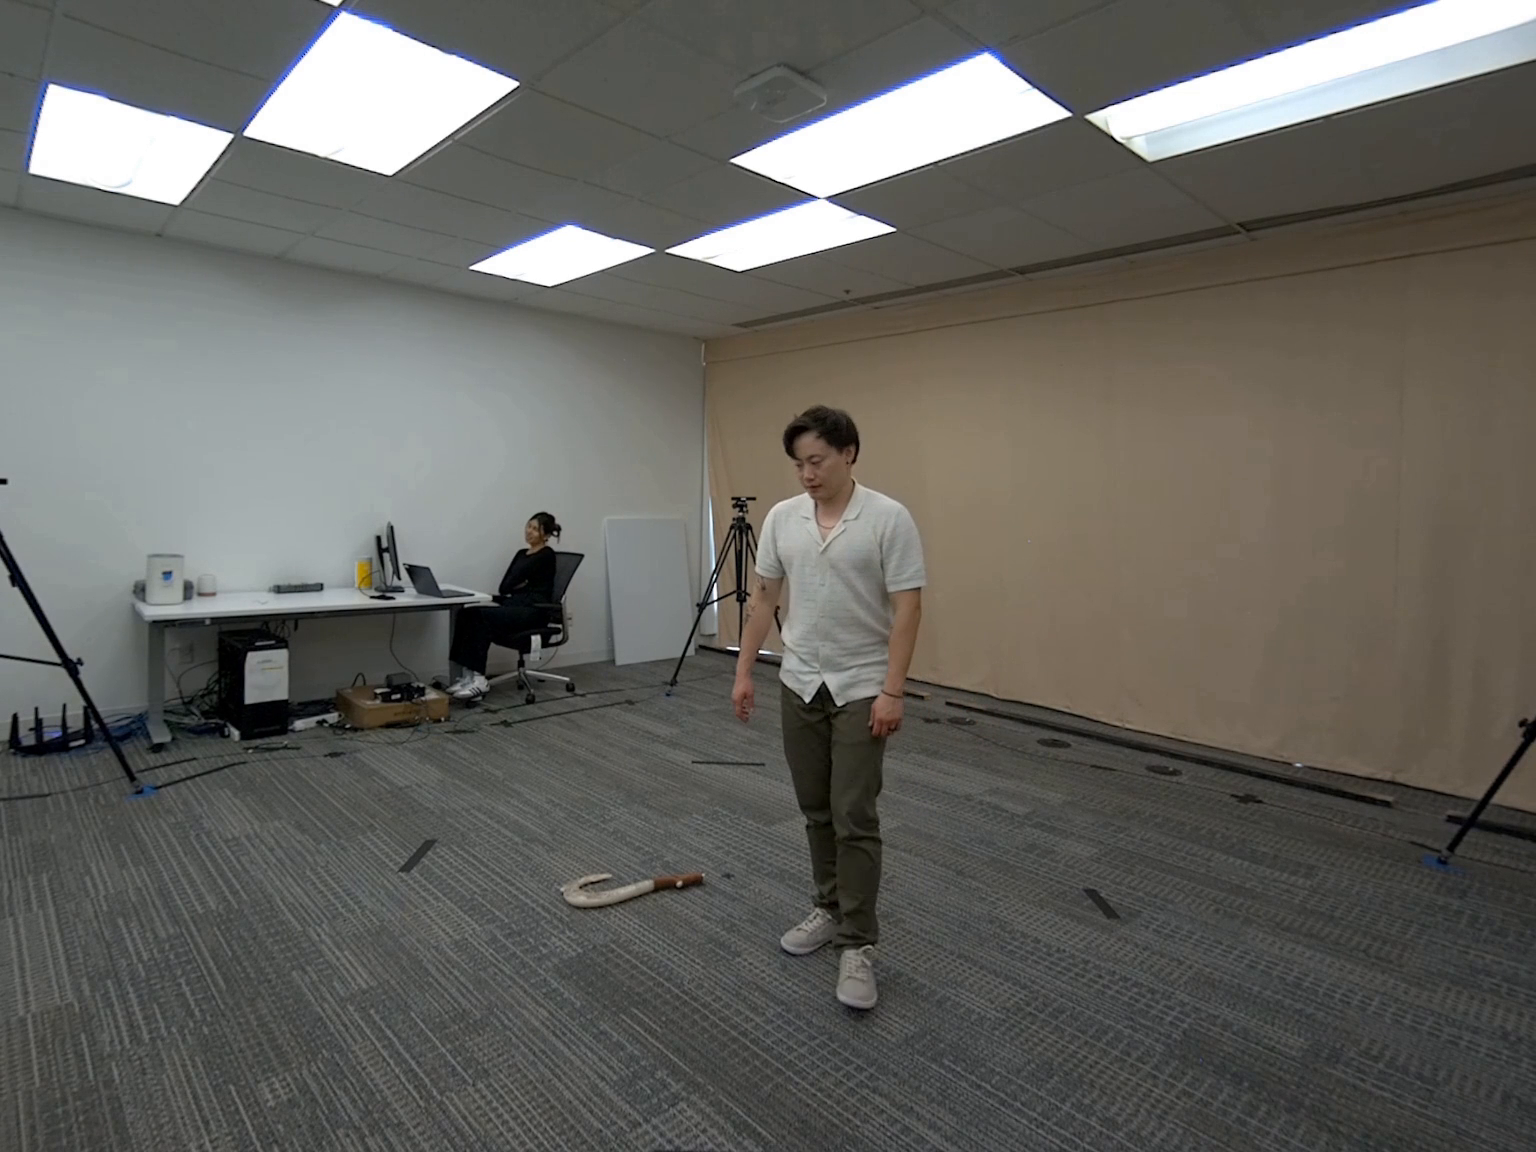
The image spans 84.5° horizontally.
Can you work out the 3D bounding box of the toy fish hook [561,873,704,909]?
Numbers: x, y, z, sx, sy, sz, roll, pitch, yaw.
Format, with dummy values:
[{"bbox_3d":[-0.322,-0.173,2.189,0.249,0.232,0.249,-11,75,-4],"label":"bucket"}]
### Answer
[{"bbox_3d":[-0.483,1.088,2.987,0.498,0.048,0.229,0,6,-24],"label":"toy fish hook"}]
